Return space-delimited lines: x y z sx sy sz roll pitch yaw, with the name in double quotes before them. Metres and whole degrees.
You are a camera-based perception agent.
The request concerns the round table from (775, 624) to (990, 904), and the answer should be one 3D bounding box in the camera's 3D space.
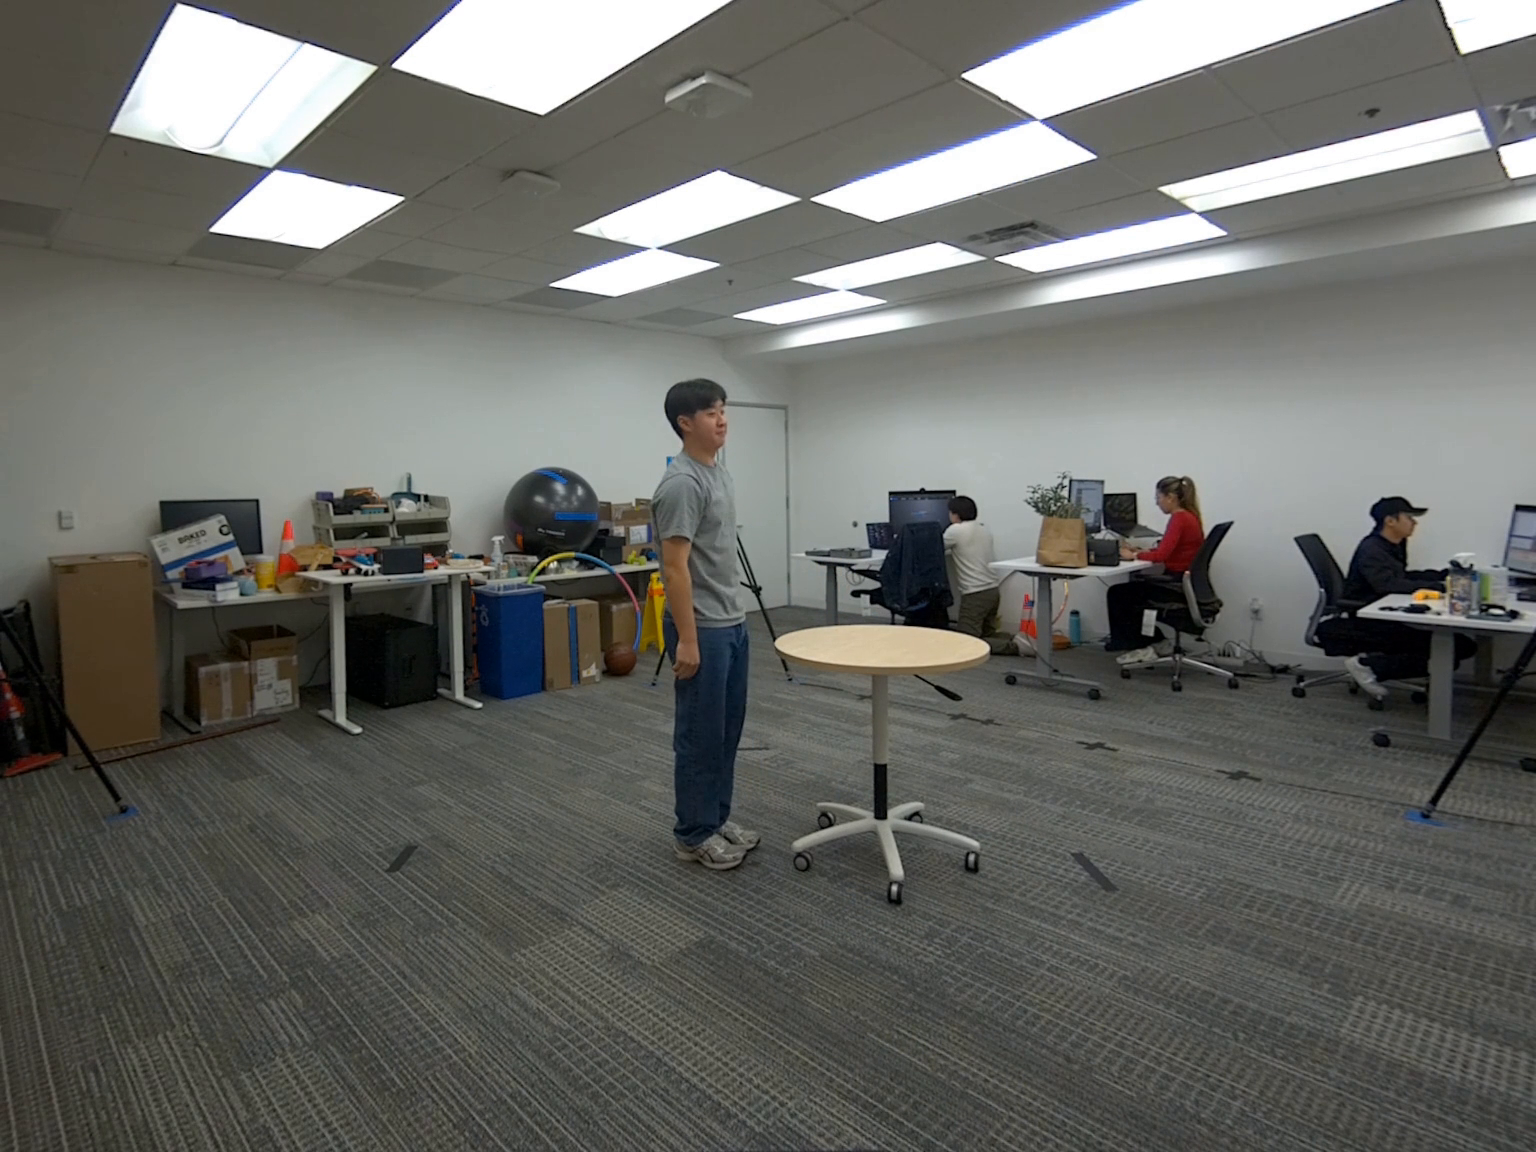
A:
"round table" 0.414 0.638 3.123 0.763 0.791 0.768 -1 5 -2
